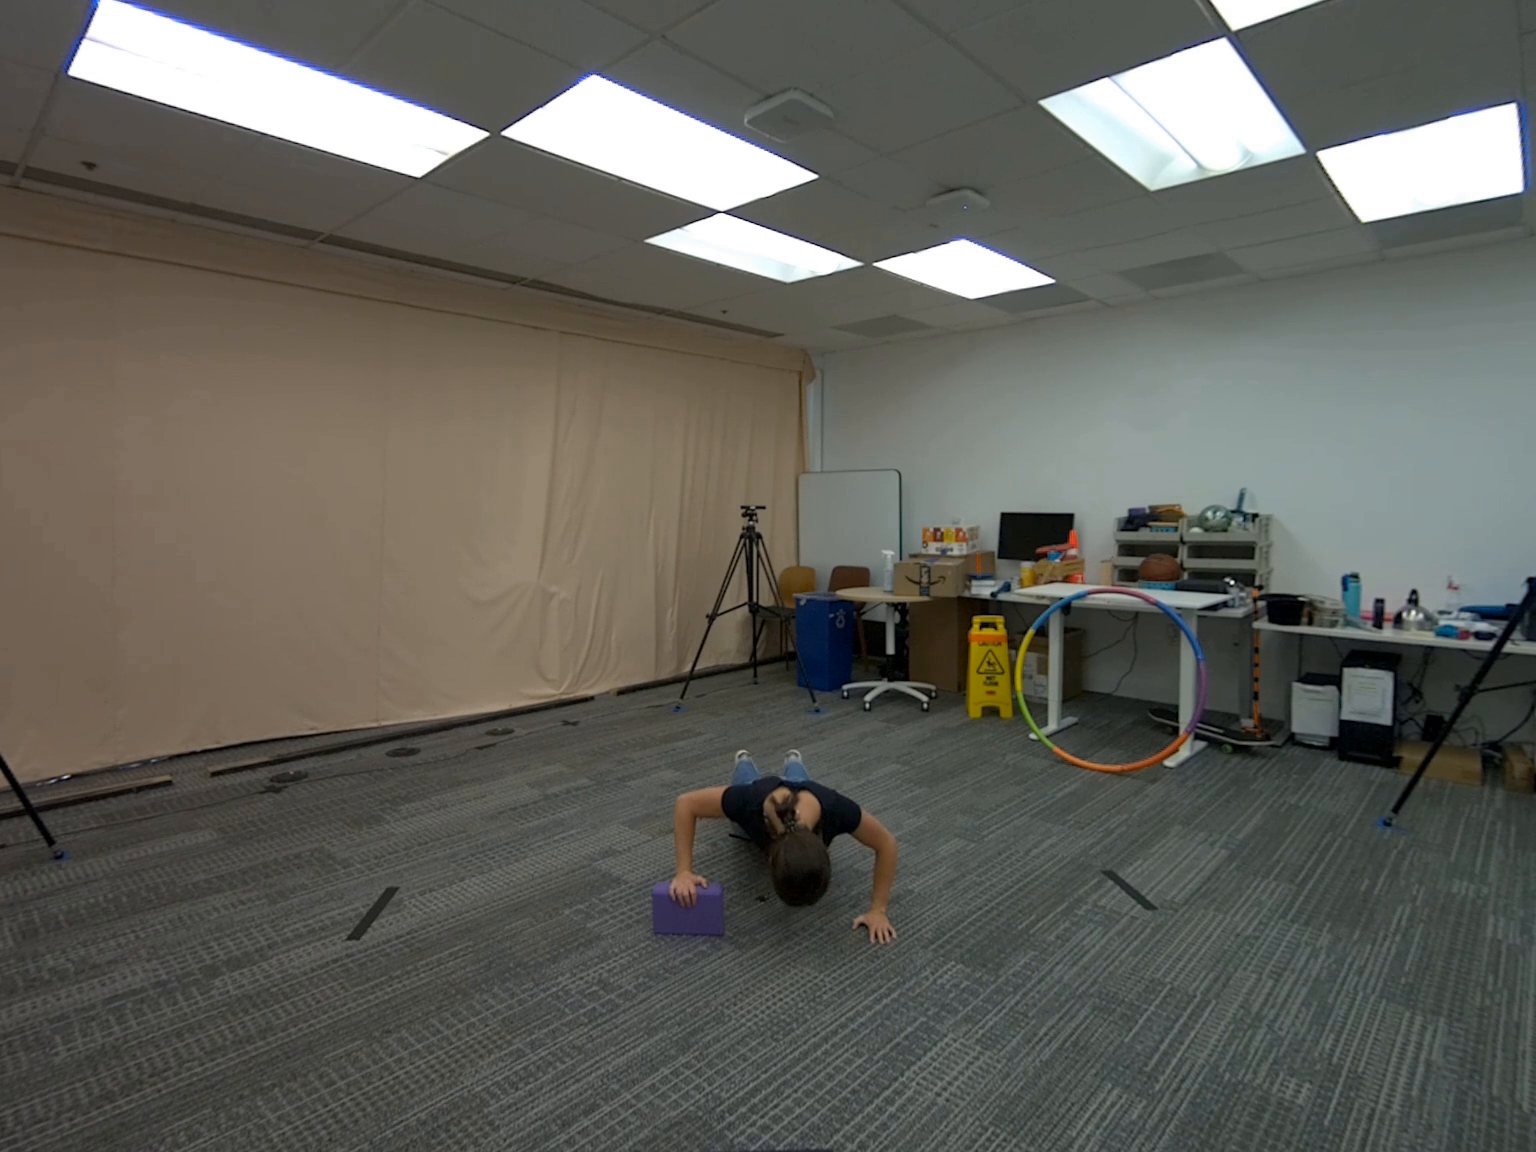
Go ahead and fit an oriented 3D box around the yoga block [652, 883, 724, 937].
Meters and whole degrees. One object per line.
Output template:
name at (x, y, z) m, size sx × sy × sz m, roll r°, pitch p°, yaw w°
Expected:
yoga block at (-0.253, 1.095, 2.765) m, size 0.230 × 0.149 × 0.076 m, roll 1°, pitch 2°, yaw 5°
